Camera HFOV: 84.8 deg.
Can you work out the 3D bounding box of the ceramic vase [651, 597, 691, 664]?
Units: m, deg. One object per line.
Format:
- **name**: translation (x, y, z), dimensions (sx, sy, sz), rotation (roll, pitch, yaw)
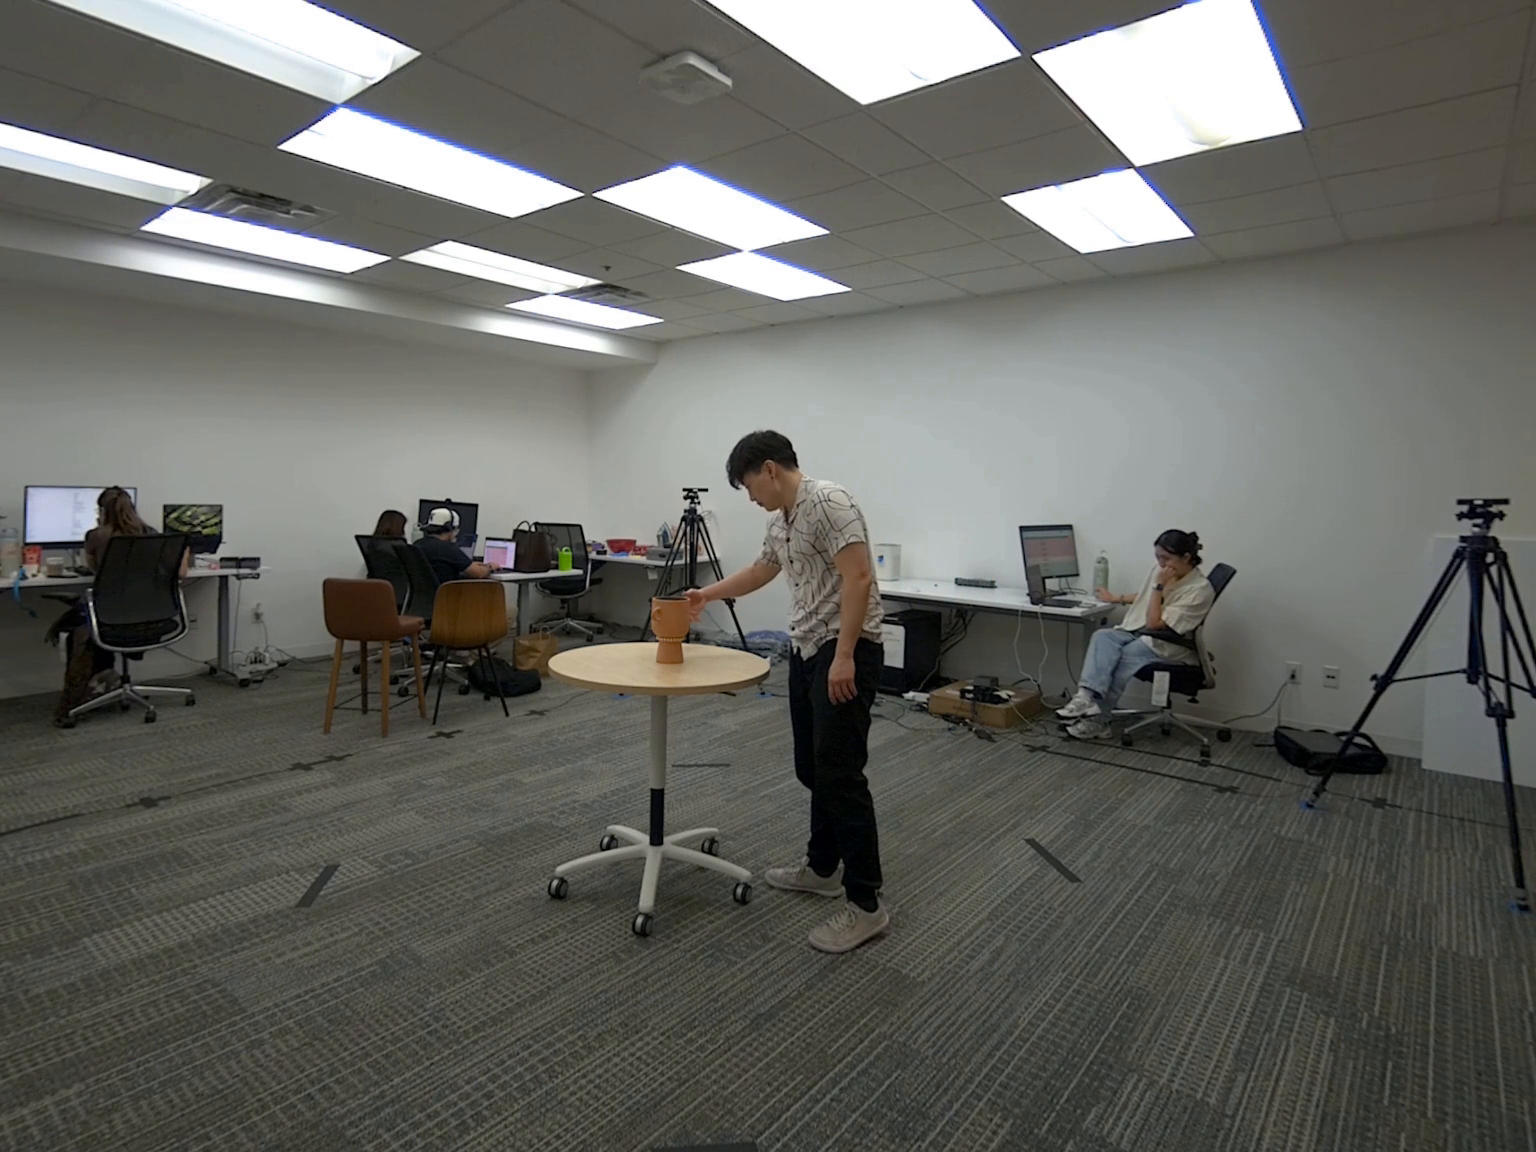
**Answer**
- **ceramic vase**: translation (-0.350, 0.188, 2.981), dimensions (0.156, 0.219, 0.137), rotation (1, 4, -15)
